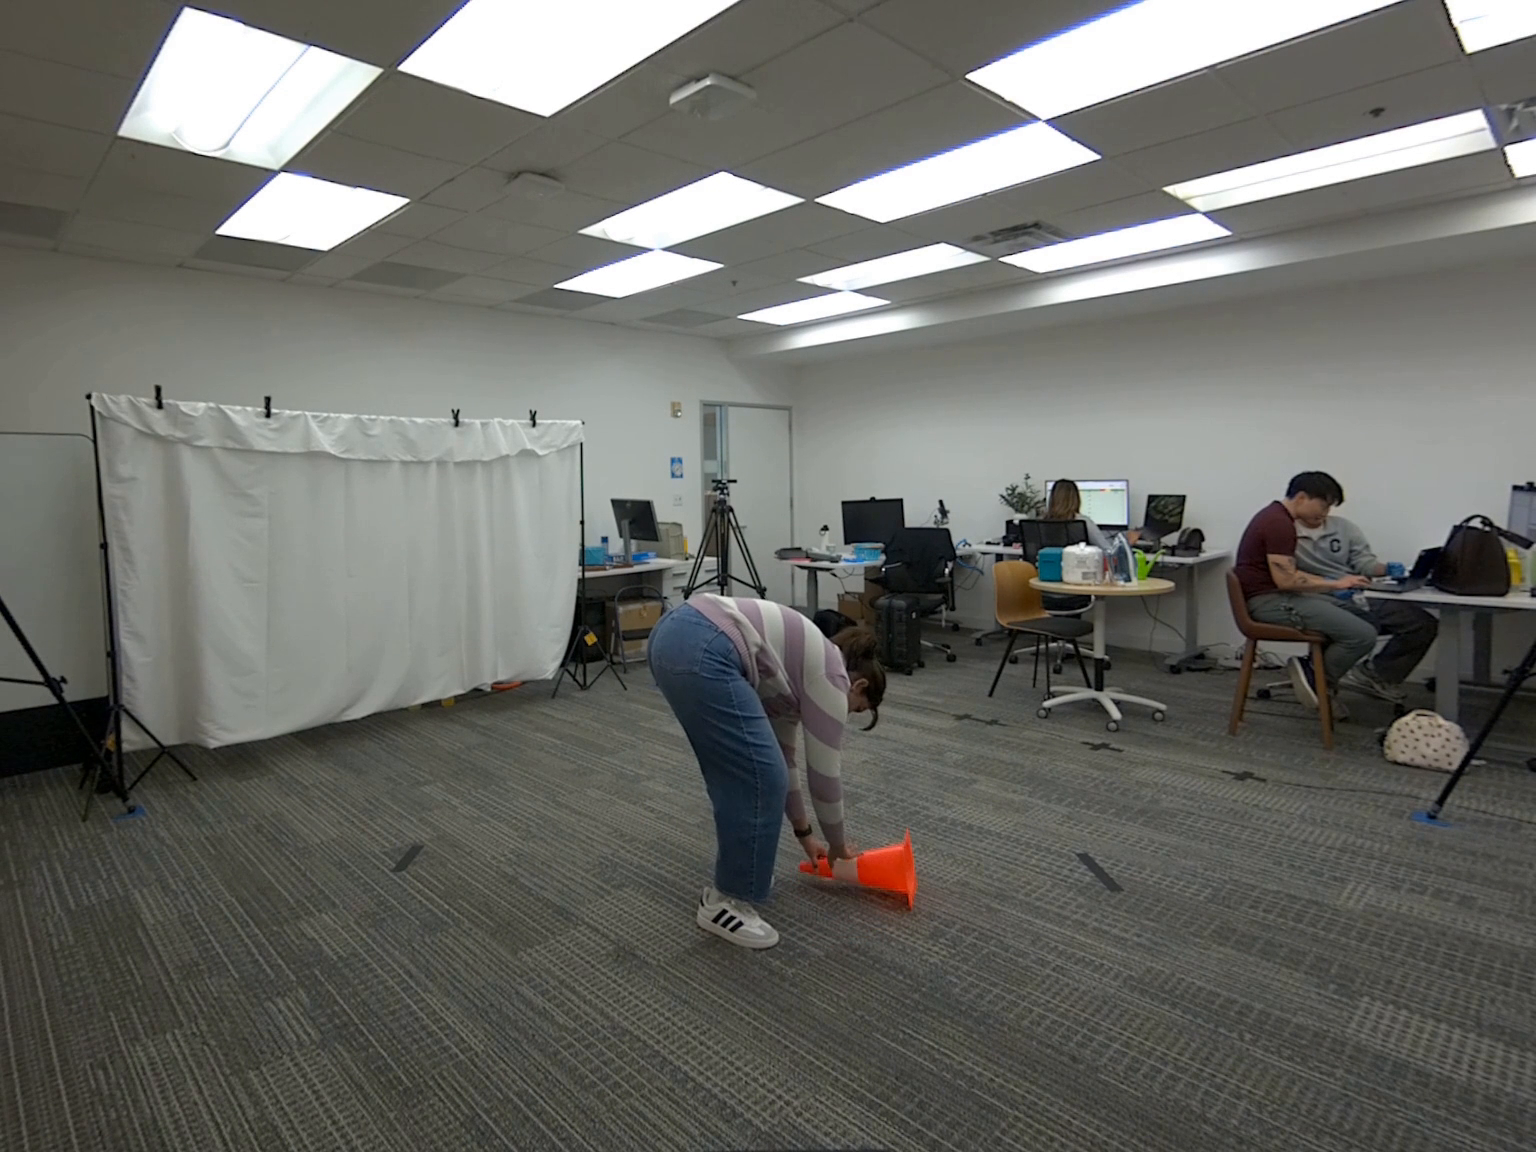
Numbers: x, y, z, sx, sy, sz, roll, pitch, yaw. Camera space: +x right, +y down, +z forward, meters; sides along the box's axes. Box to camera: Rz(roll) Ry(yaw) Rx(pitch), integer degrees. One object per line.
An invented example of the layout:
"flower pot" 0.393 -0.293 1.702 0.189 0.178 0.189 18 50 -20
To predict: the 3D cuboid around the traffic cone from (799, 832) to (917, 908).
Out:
"traffic cone" 0.289 0.985 2.894 0.389 0.205 0.200 -6 1 16
